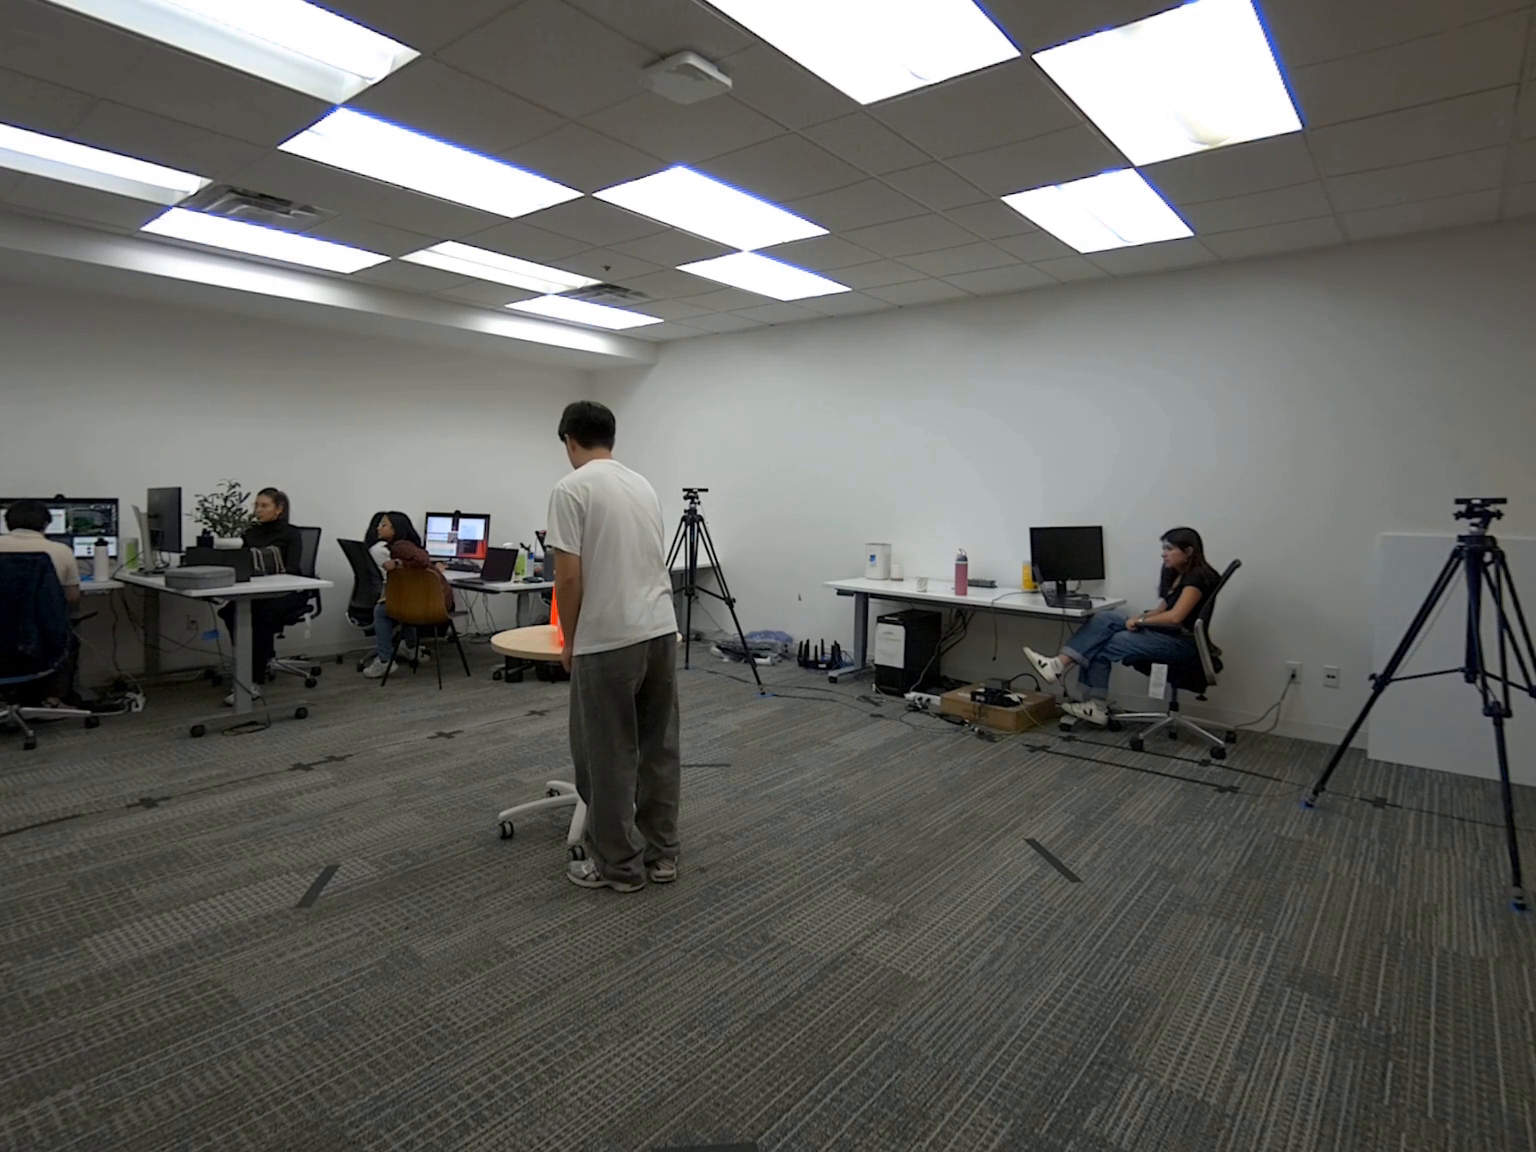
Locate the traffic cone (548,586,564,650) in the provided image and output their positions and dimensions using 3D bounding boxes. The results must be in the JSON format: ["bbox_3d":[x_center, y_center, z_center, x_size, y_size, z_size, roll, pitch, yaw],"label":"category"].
[{"bbox_3d":[-0.786,0.180,3.397,0.202,0.202,0.391,7,17,-6],"label":"traffic cone"}]
